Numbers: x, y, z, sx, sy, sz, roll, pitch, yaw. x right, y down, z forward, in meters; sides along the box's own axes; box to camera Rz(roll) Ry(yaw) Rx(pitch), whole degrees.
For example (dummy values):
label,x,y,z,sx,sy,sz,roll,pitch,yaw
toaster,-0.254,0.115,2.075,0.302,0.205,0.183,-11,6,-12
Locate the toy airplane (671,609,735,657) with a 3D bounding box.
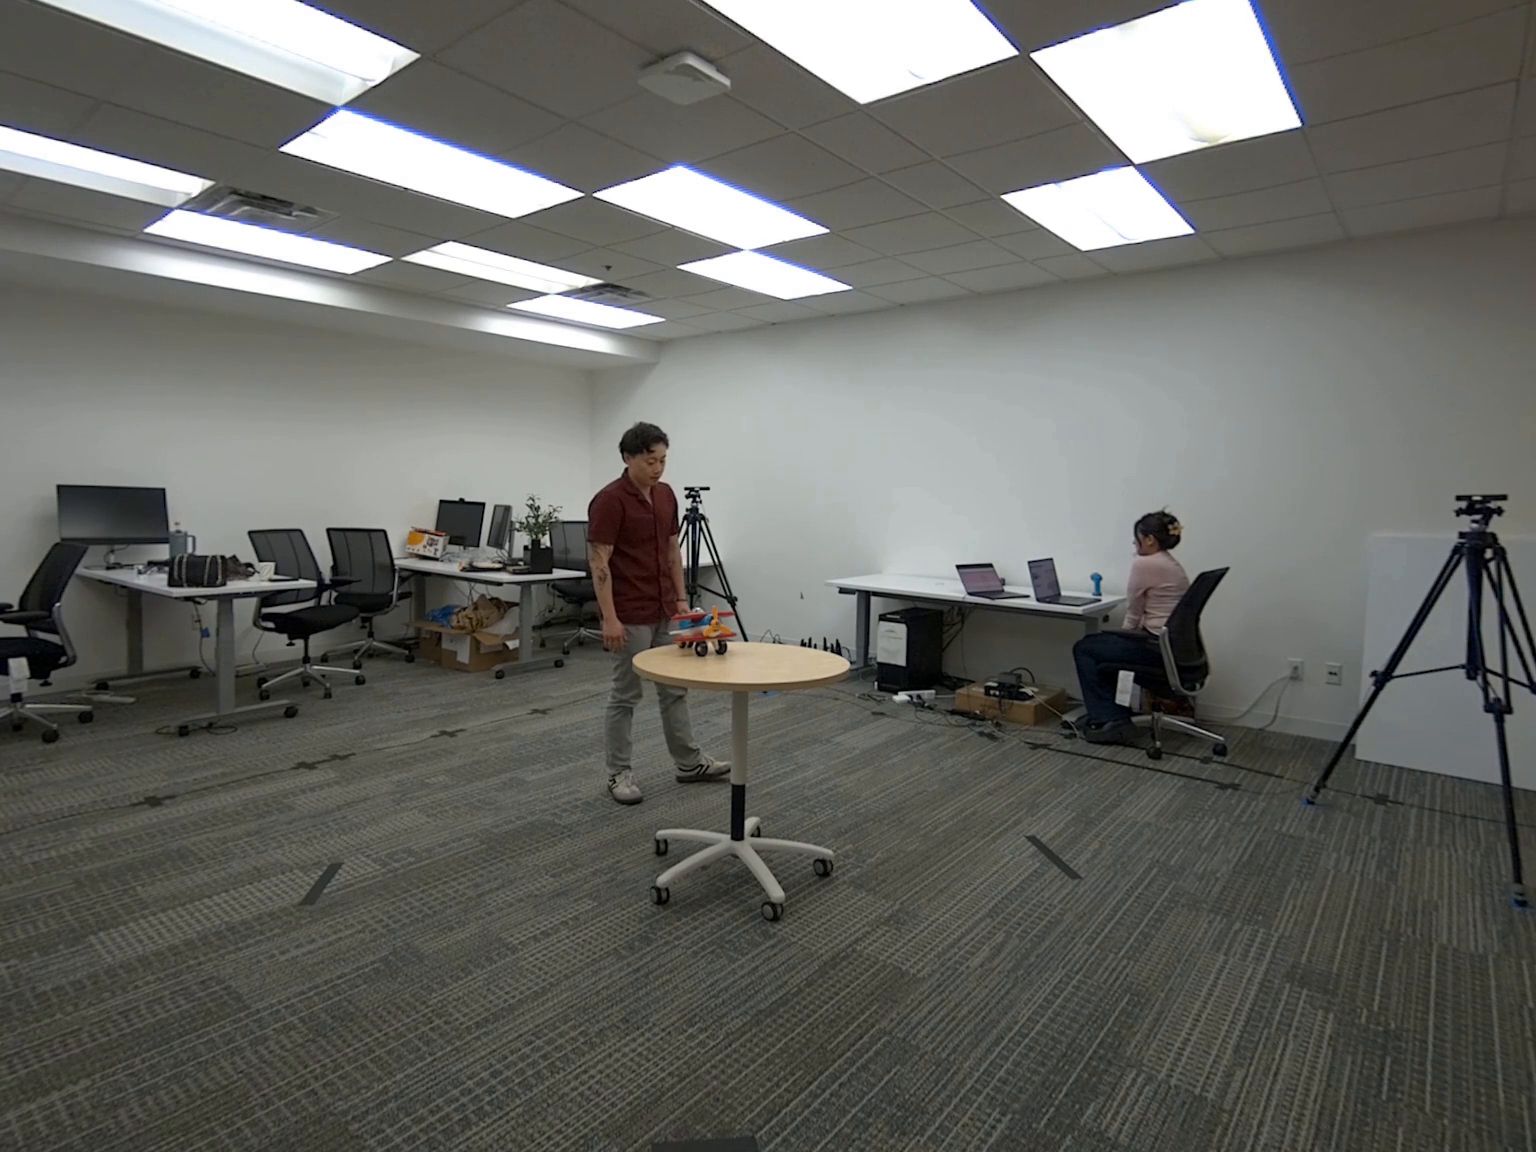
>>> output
label,x,y,z,sx,sy,sz,roll,pitch,yaw
toy airplane,-0.282,0.203,3.147,0.266,0.156,0.245,4,5,27
